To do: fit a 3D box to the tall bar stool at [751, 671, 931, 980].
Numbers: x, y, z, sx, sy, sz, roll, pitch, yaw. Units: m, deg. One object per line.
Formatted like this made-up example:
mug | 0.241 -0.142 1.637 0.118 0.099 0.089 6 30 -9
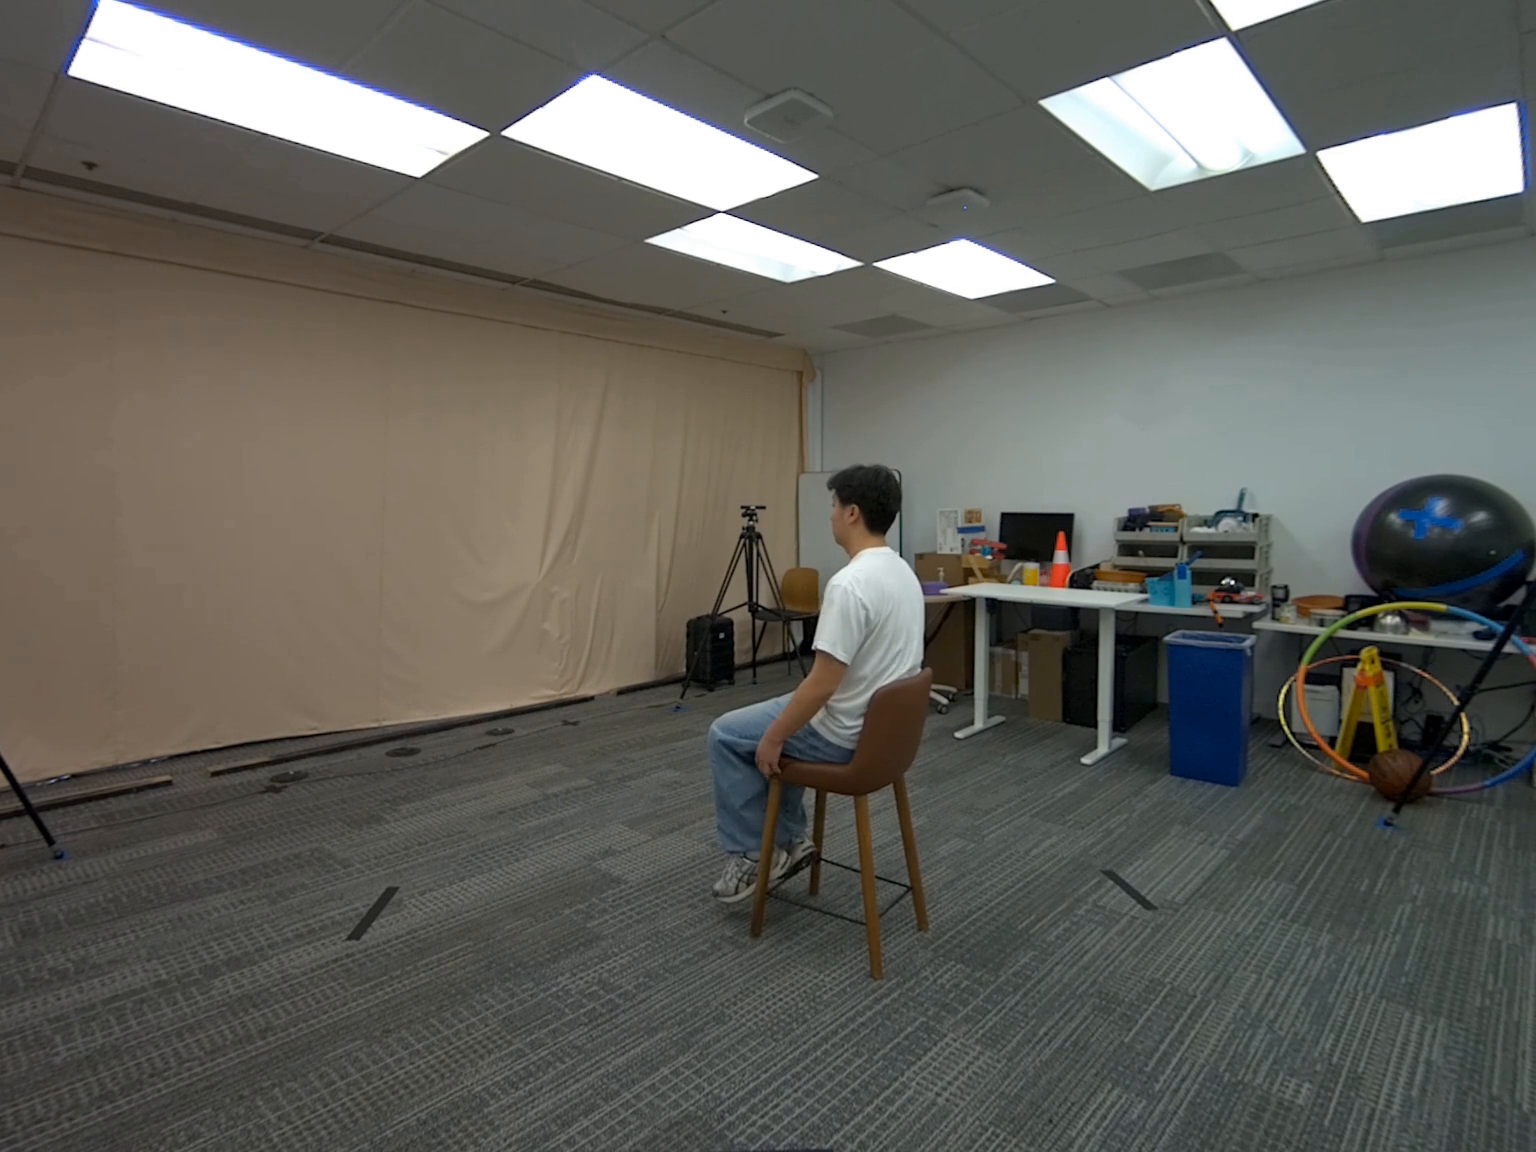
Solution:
tall bar stool | 0.256 0.731 2.713 0.482 0.886 0.444 5 7 34
